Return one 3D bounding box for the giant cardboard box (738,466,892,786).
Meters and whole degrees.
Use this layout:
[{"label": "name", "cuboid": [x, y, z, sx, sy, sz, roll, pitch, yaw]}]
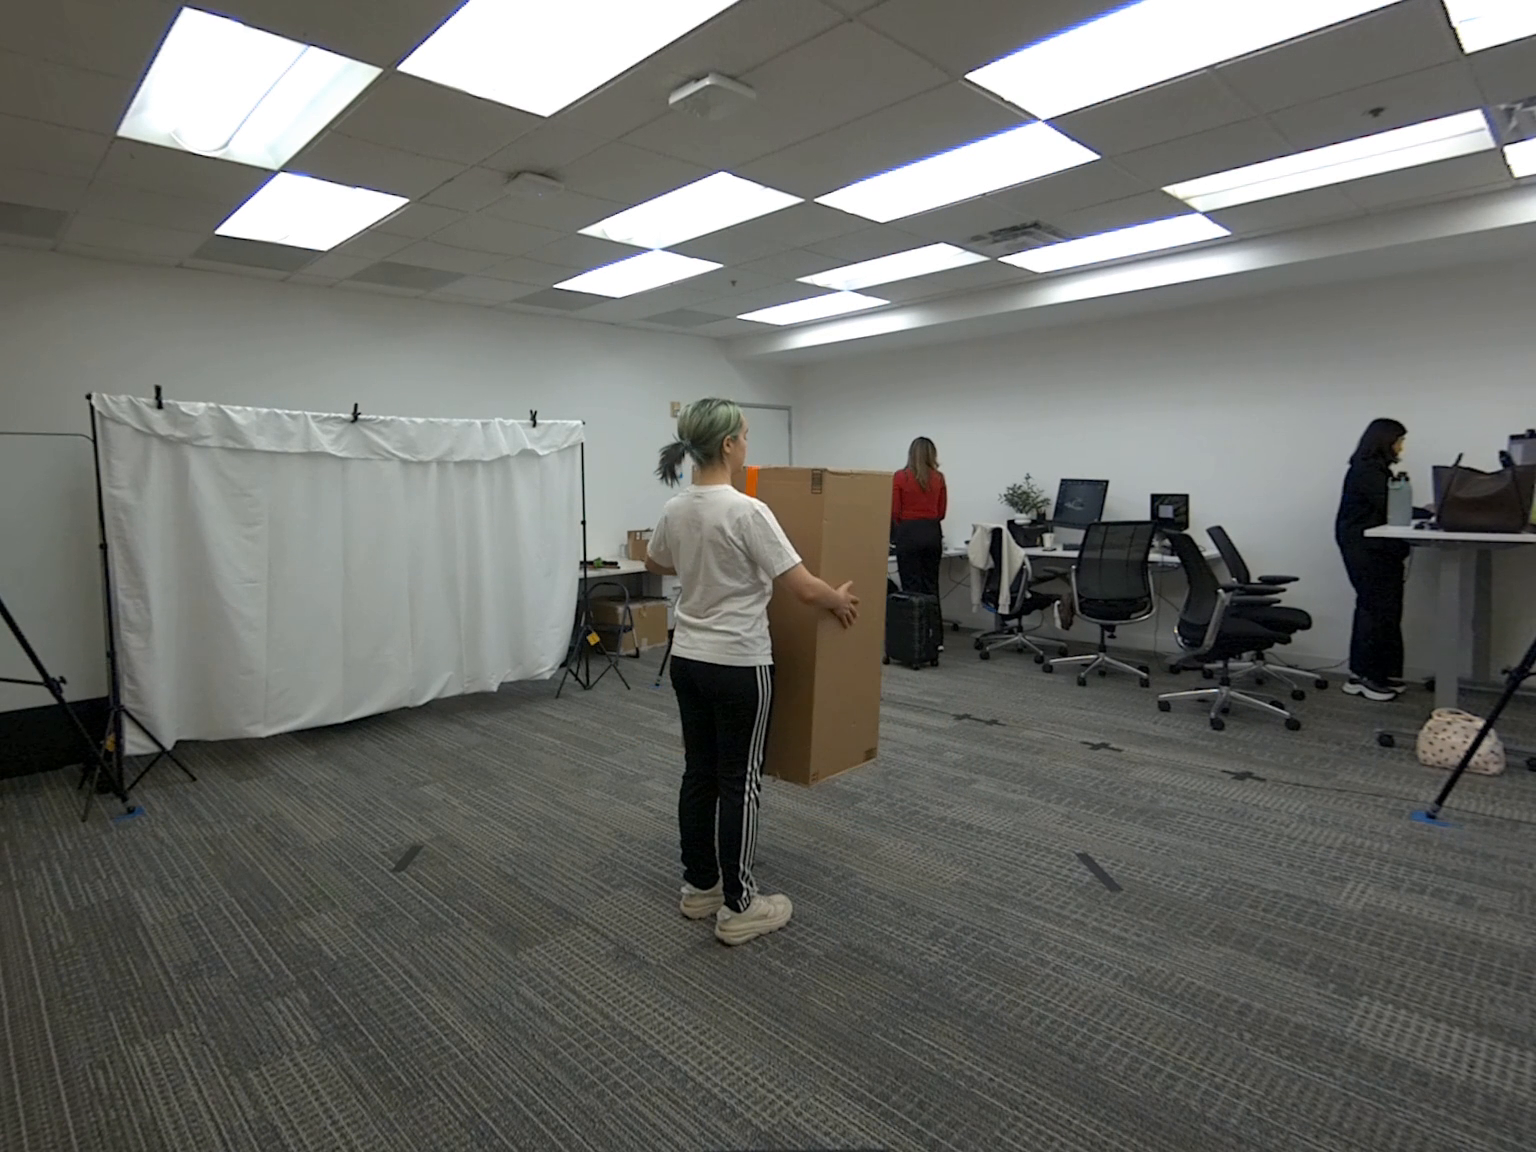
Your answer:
[{"label": "giant cardboard box", "cuboid": [0.059, 0.132, 3.028, 0.596, 1.023, 0.414, 6, 5, 40]}]
